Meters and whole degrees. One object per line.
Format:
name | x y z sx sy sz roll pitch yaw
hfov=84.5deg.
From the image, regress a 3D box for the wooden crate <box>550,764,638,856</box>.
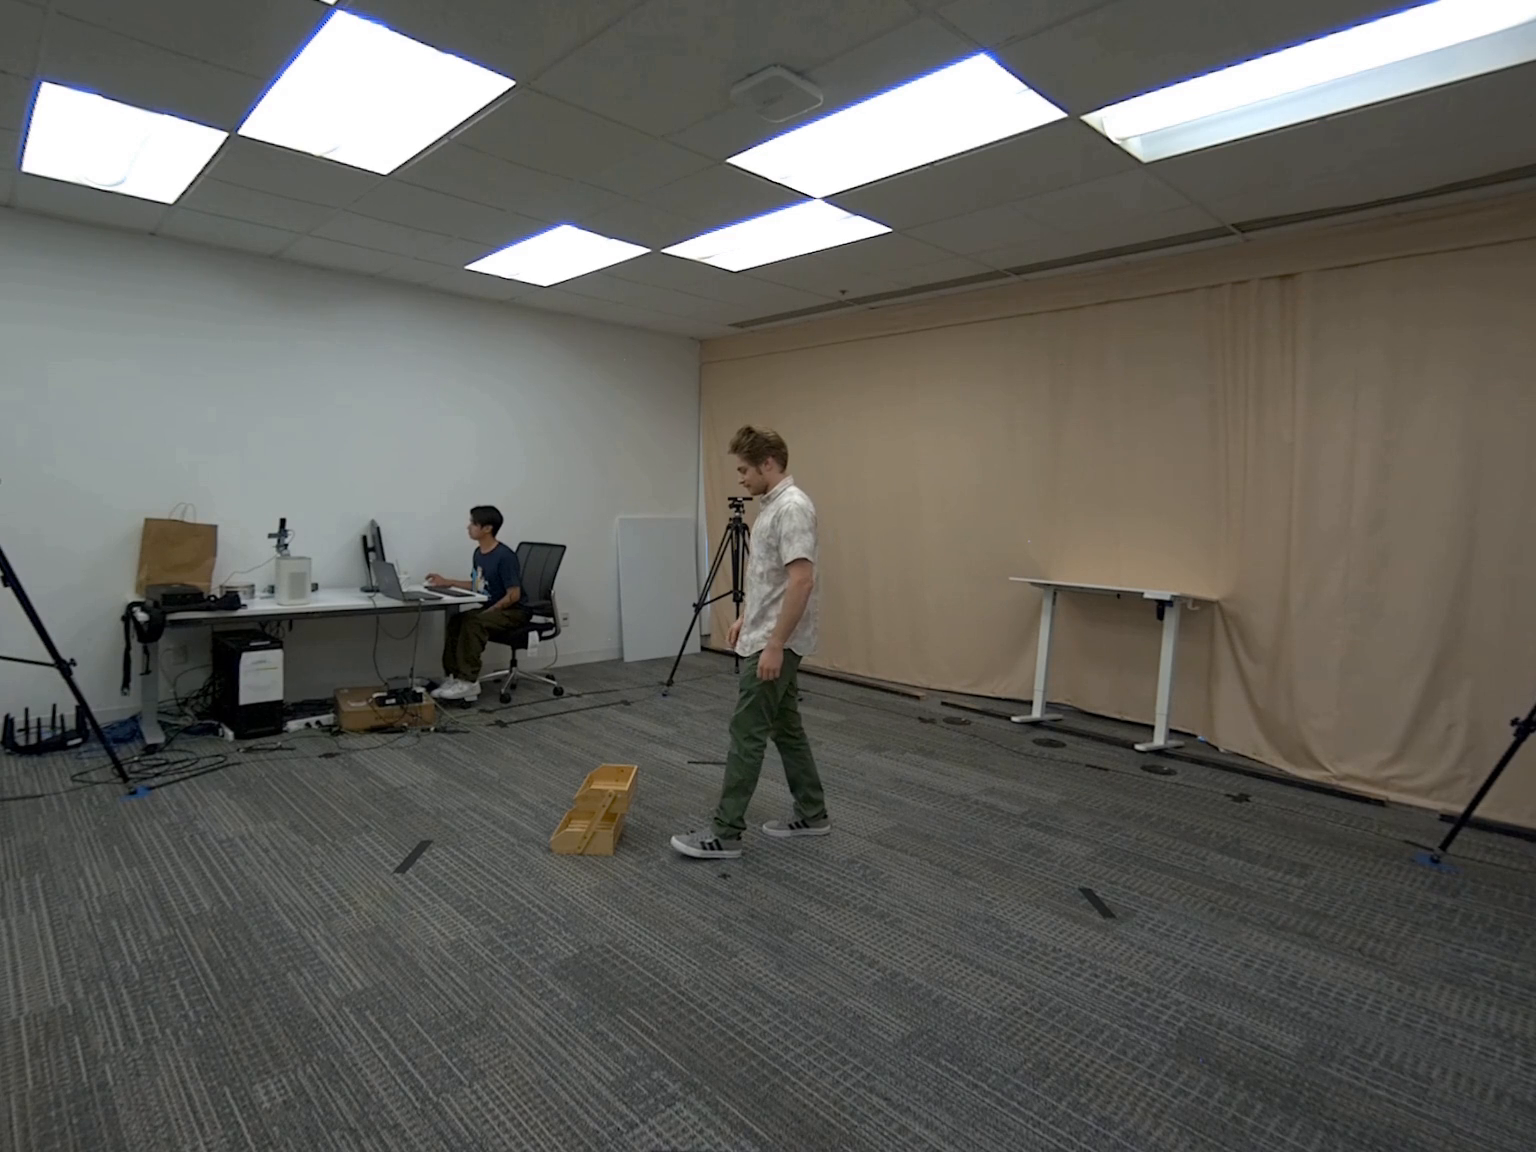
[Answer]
wooden crate | -0.716 0.932 3.409 0.302 0.273 0.325 2 4 0
